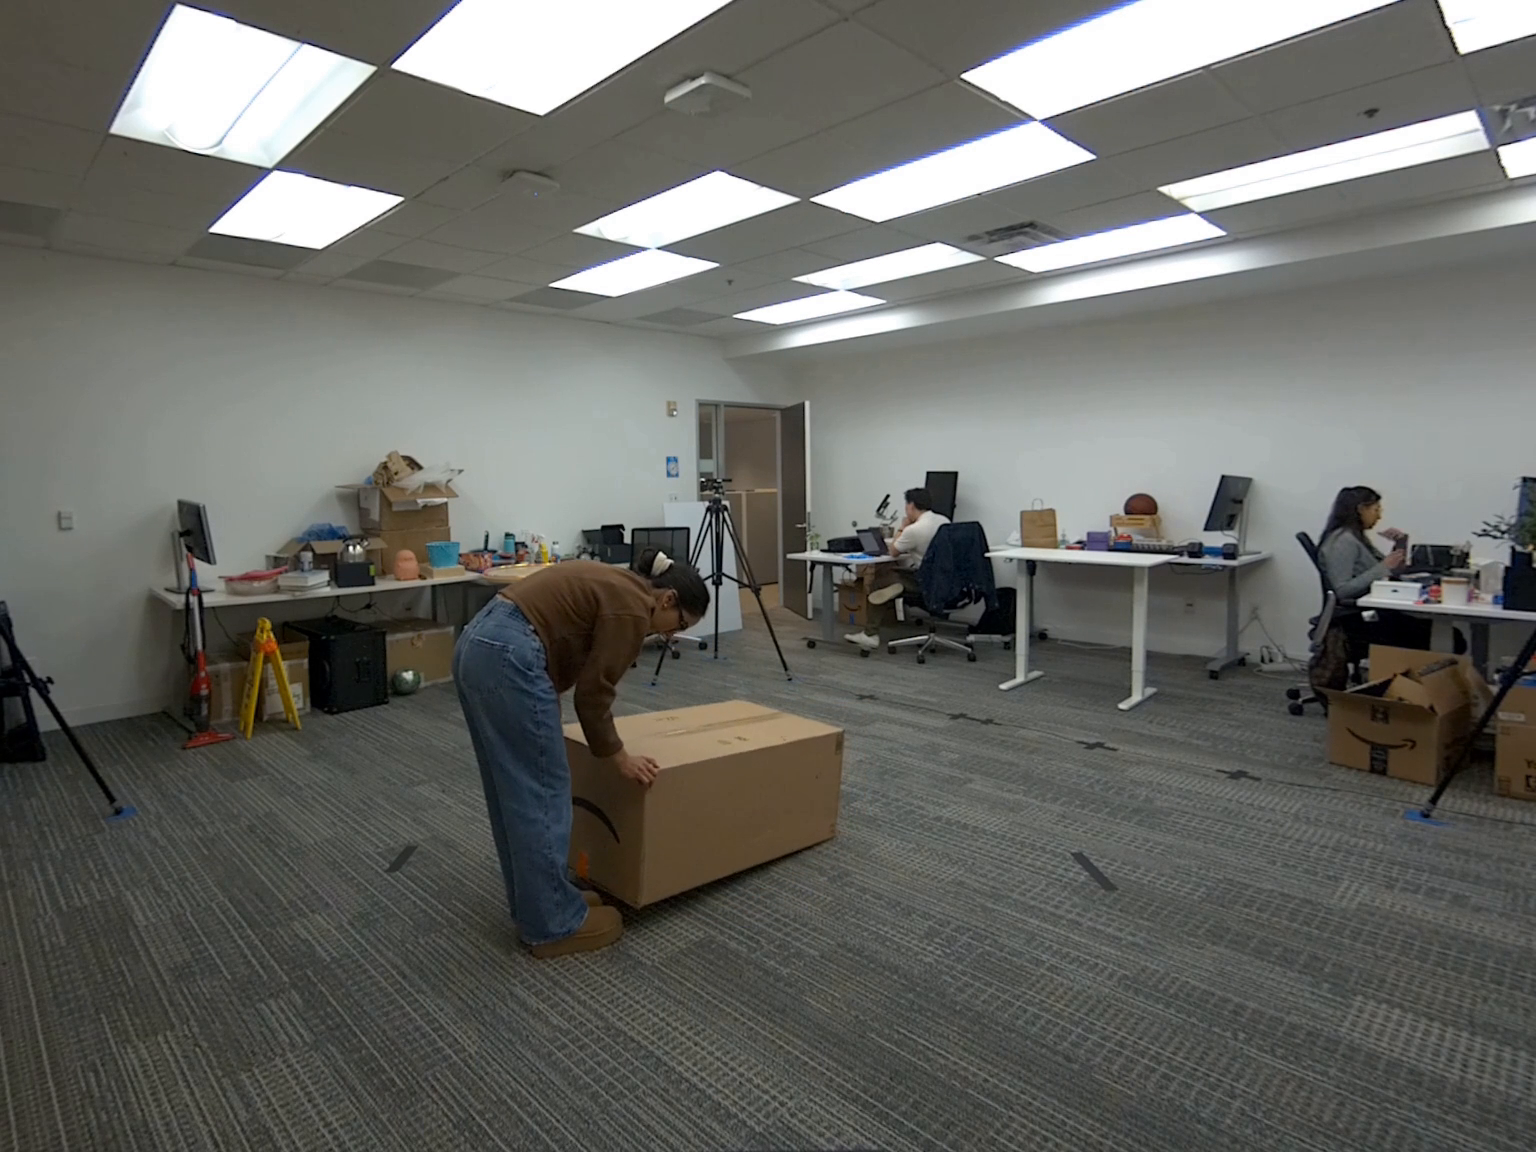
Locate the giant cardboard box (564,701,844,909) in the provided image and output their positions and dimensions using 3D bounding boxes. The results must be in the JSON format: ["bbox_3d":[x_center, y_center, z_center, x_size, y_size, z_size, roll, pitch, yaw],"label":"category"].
[{"bbox_3d":[-0.255,0.772,3.164,0.602,0.446,0.996,6,3,42],"label":"giant cardboard box"}]
